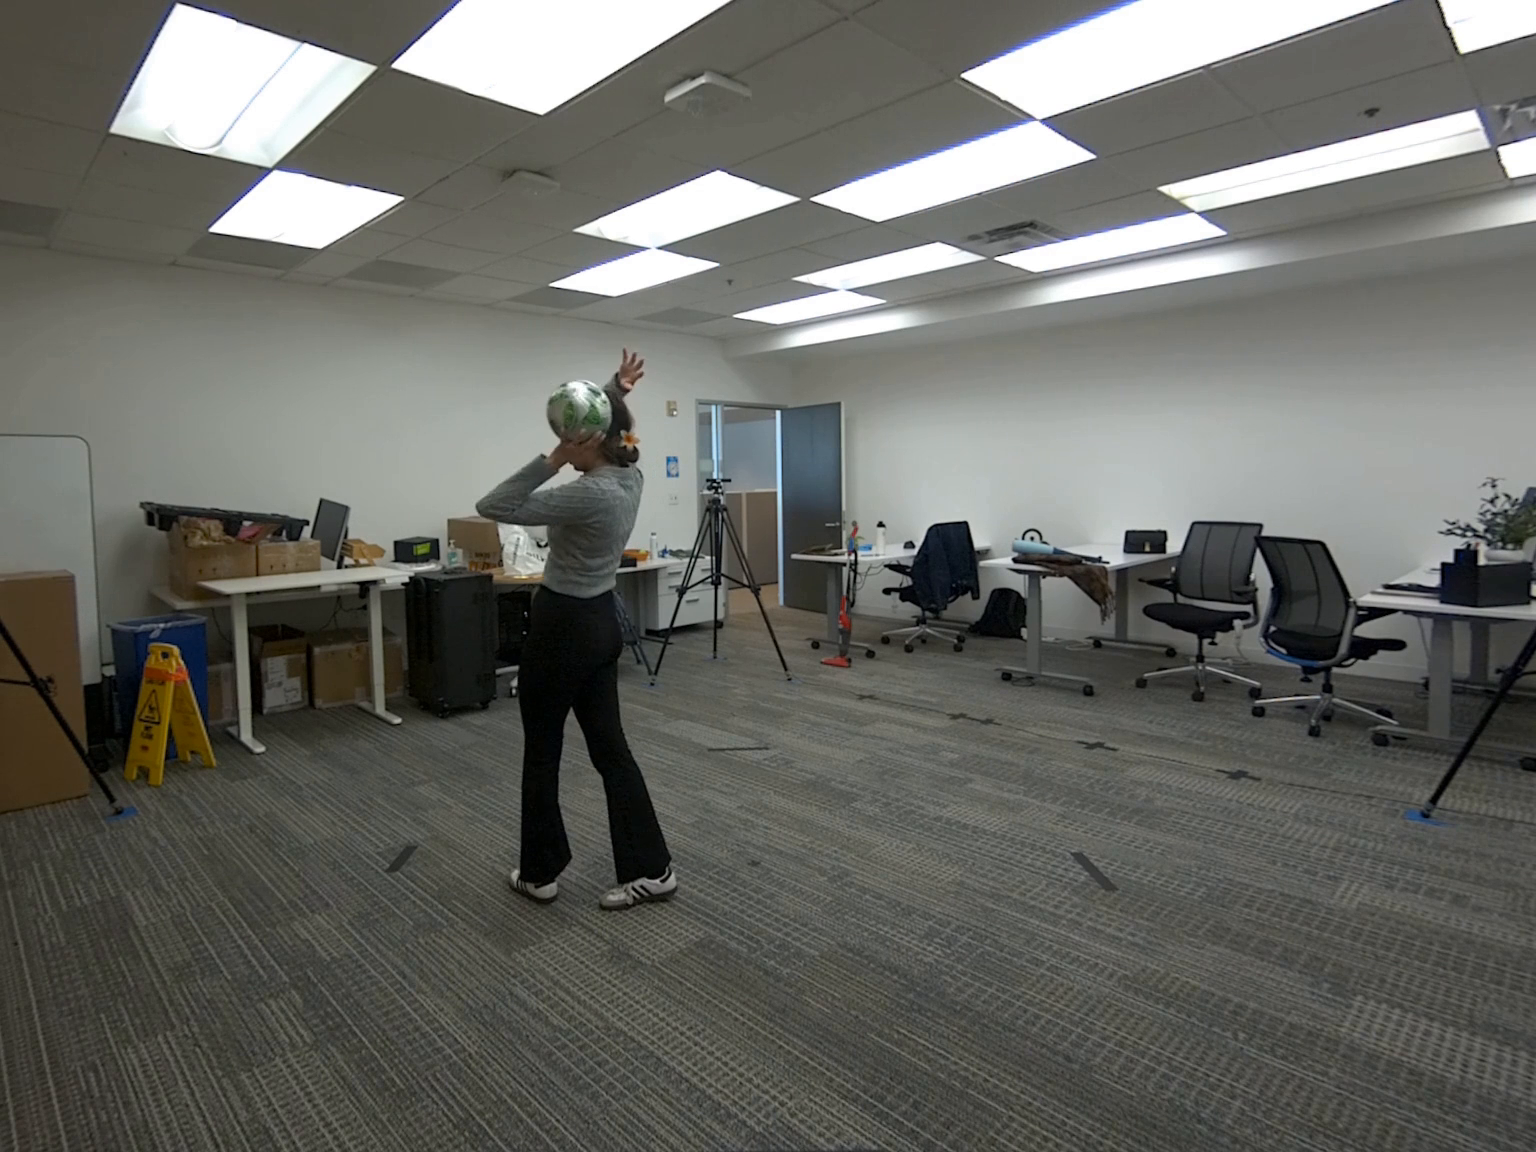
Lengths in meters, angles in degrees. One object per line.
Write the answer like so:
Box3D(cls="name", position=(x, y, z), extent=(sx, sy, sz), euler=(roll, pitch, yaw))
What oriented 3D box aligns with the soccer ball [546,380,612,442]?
Box3D(cls="soccer ball", position=(-0.560, -0.467, 2.492), extent=(0.187, 0.187, 0.188), euler=(-1, 5, -2))
